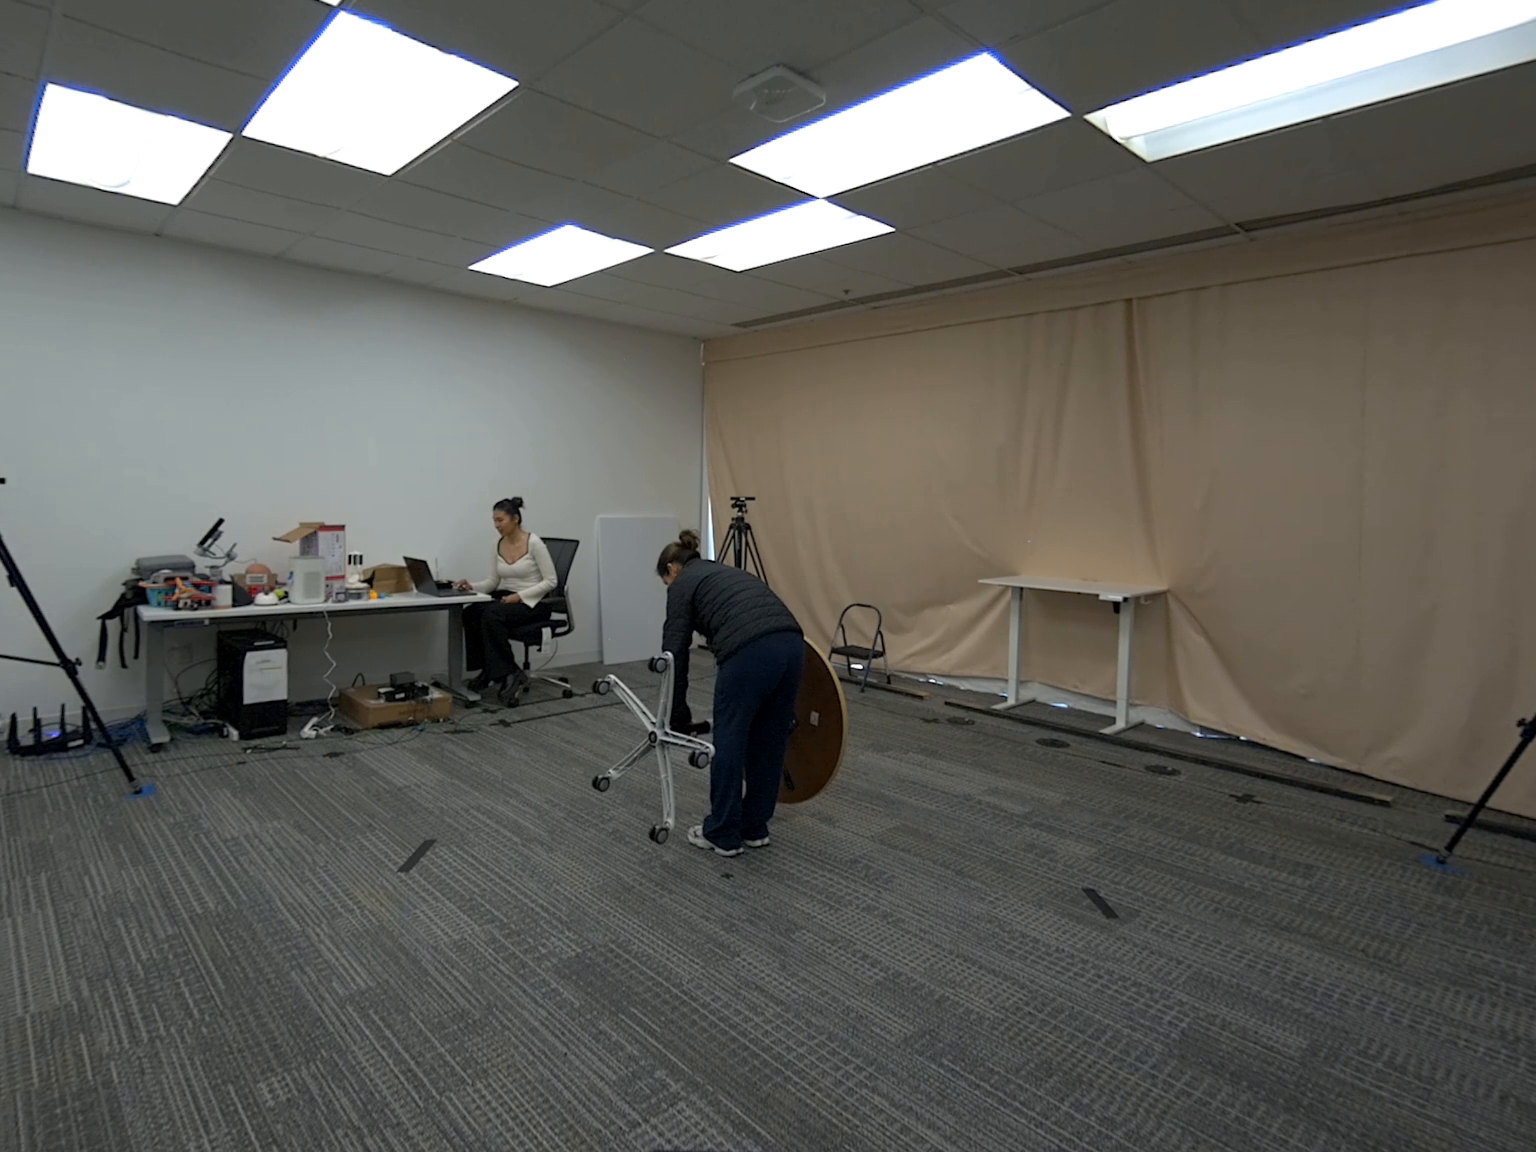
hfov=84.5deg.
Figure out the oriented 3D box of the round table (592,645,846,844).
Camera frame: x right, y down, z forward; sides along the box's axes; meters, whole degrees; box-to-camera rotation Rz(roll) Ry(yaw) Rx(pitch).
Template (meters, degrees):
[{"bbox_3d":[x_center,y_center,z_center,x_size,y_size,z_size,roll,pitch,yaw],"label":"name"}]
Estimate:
[{"bbox_3d":[-0.219,0.630,3.425,0.768,0.783,0.805,-1,5,-45],"label":"round table"}]
